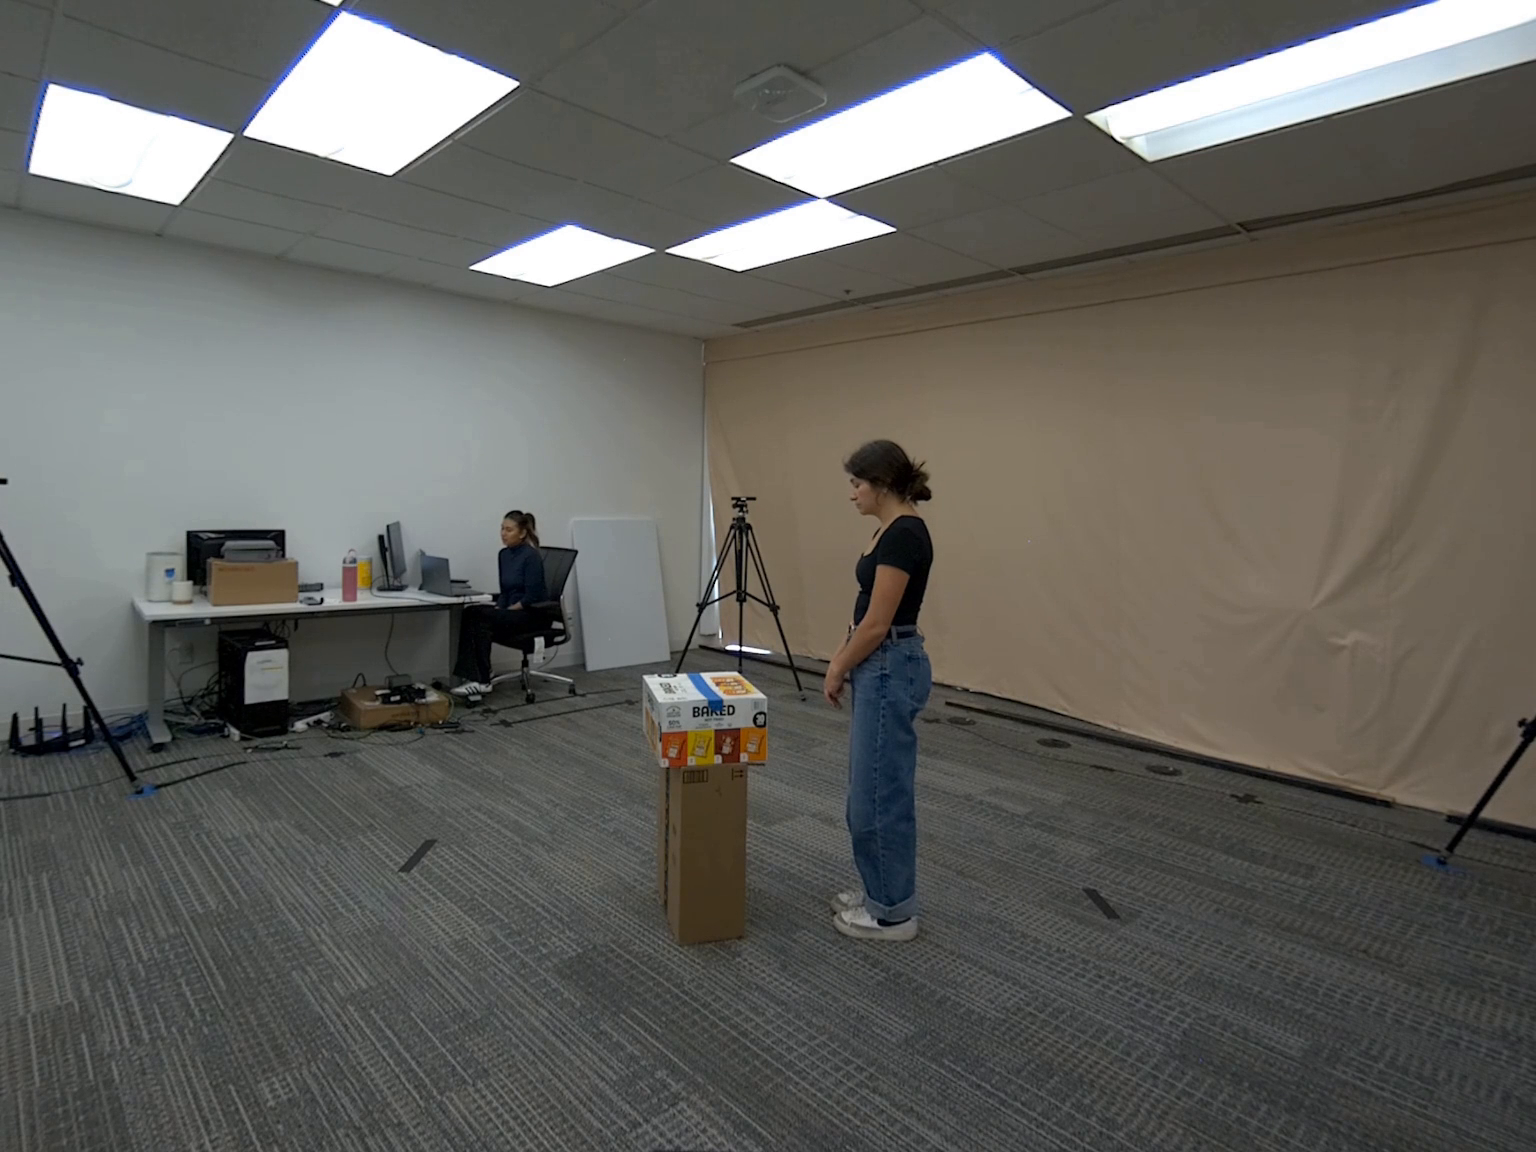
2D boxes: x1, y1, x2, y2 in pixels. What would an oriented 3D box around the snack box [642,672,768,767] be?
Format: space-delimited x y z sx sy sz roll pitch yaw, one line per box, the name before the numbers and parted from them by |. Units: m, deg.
snack box | -0.223 0.463 2.794 0.336 0.205 0.411 0 5 -15
